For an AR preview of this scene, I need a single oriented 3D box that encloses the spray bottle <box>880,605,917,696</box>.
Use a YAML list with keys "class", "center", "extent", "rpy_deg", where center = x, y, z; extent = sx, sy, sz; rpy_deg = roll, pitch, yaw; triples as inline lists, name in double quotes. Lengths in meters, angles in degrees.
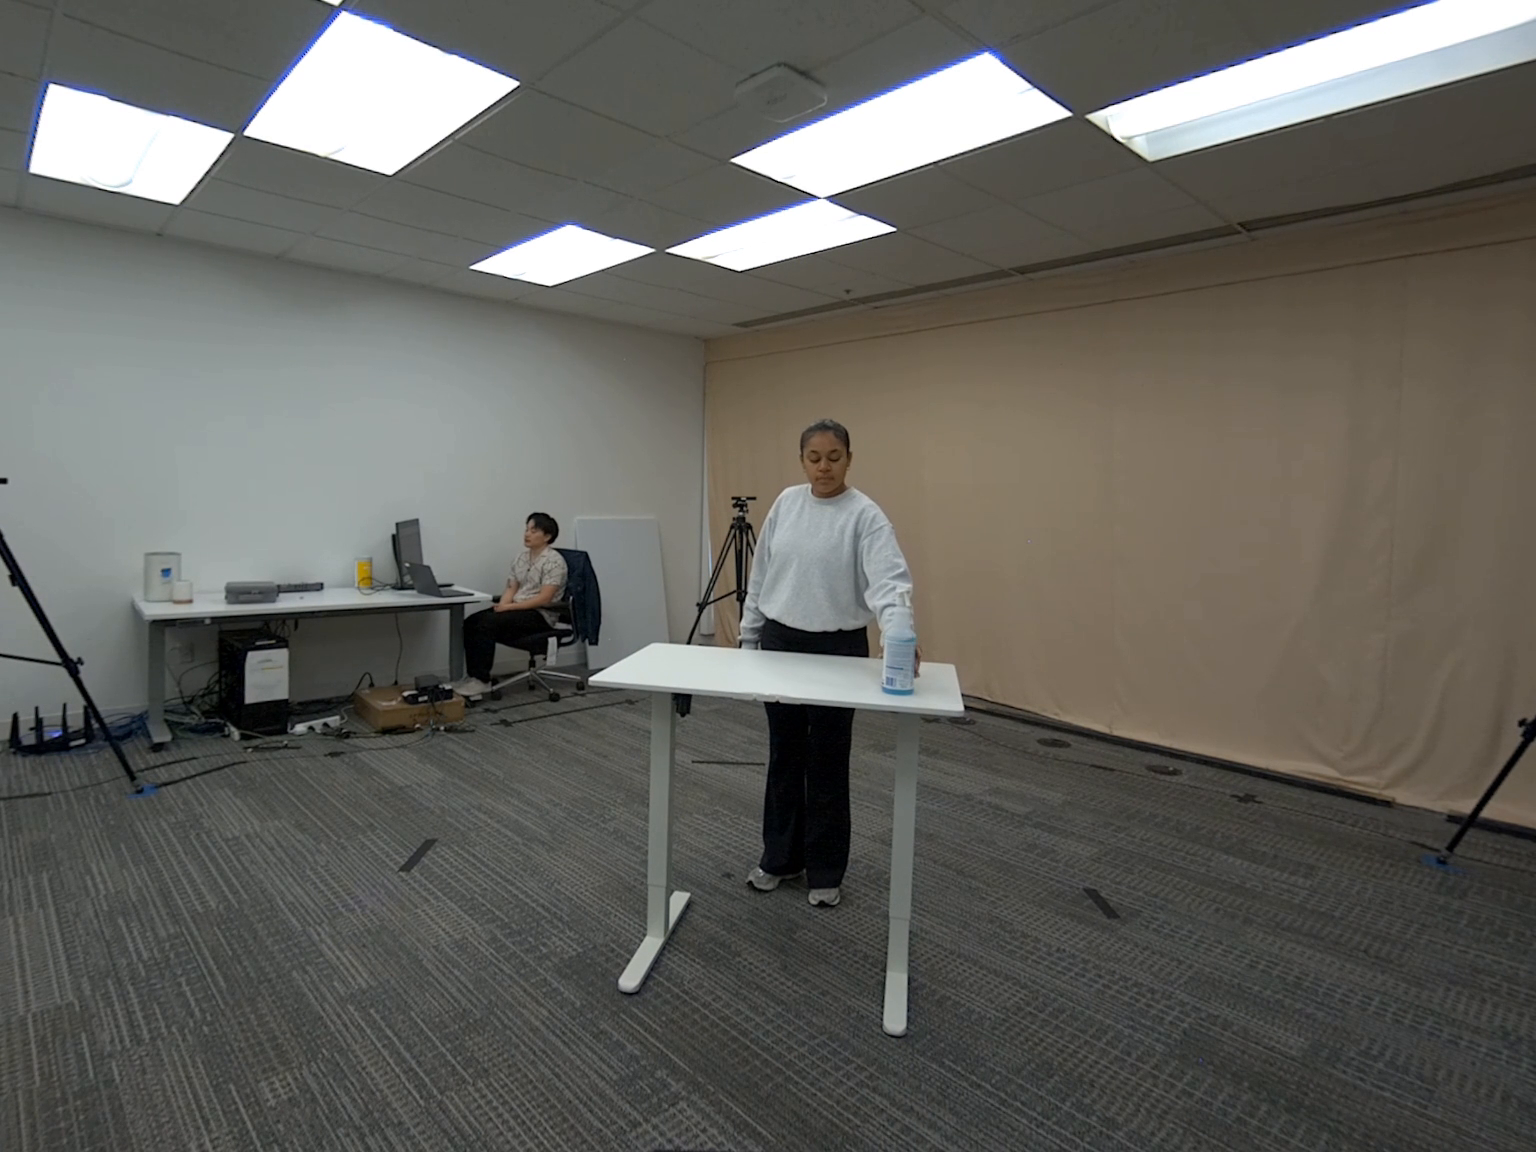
- class: "spray bottle"
  center: [0.347, 0.171, 2.268]
  extent: [0.088, 0.296, 0.089]
  rpy_deg: [3, 5, 17]
